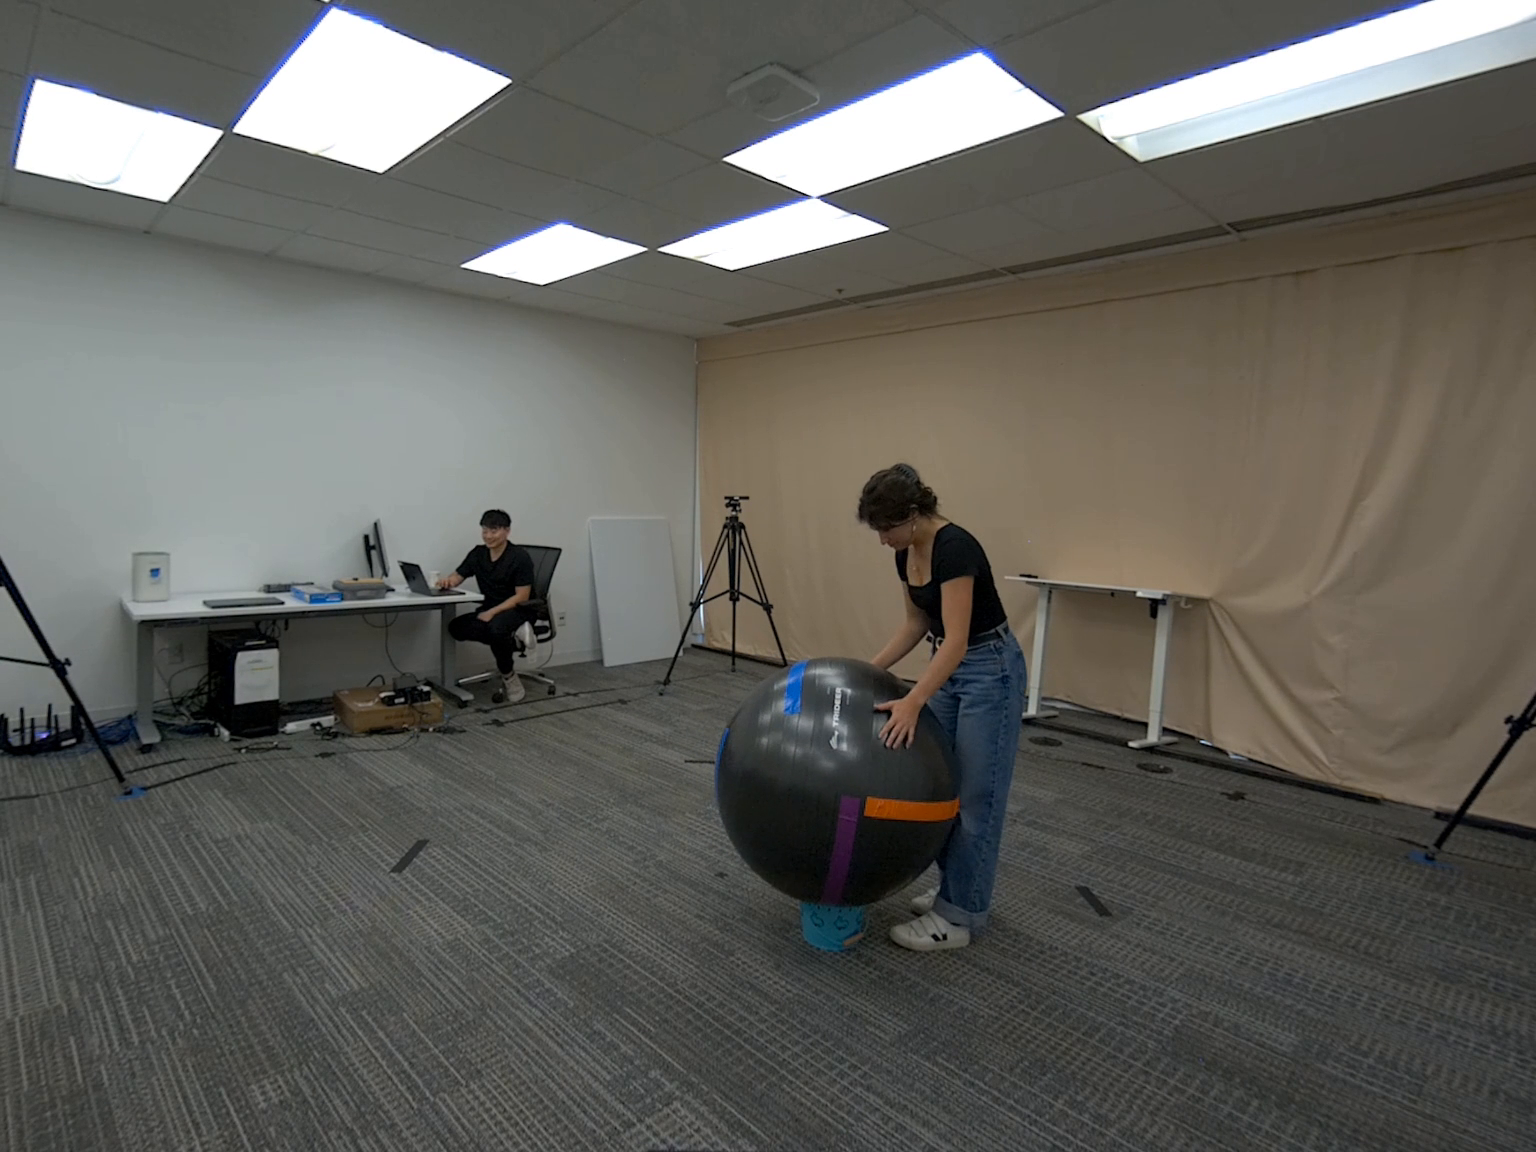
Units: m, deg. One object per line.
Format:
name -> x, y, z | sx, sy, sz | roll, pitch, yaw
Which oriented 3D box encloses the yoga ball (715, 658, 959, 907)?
yoga ball -> 0.199, 0.648, 2.662 | 0.757, 0.756, 0.761 | 1, 4, -1
